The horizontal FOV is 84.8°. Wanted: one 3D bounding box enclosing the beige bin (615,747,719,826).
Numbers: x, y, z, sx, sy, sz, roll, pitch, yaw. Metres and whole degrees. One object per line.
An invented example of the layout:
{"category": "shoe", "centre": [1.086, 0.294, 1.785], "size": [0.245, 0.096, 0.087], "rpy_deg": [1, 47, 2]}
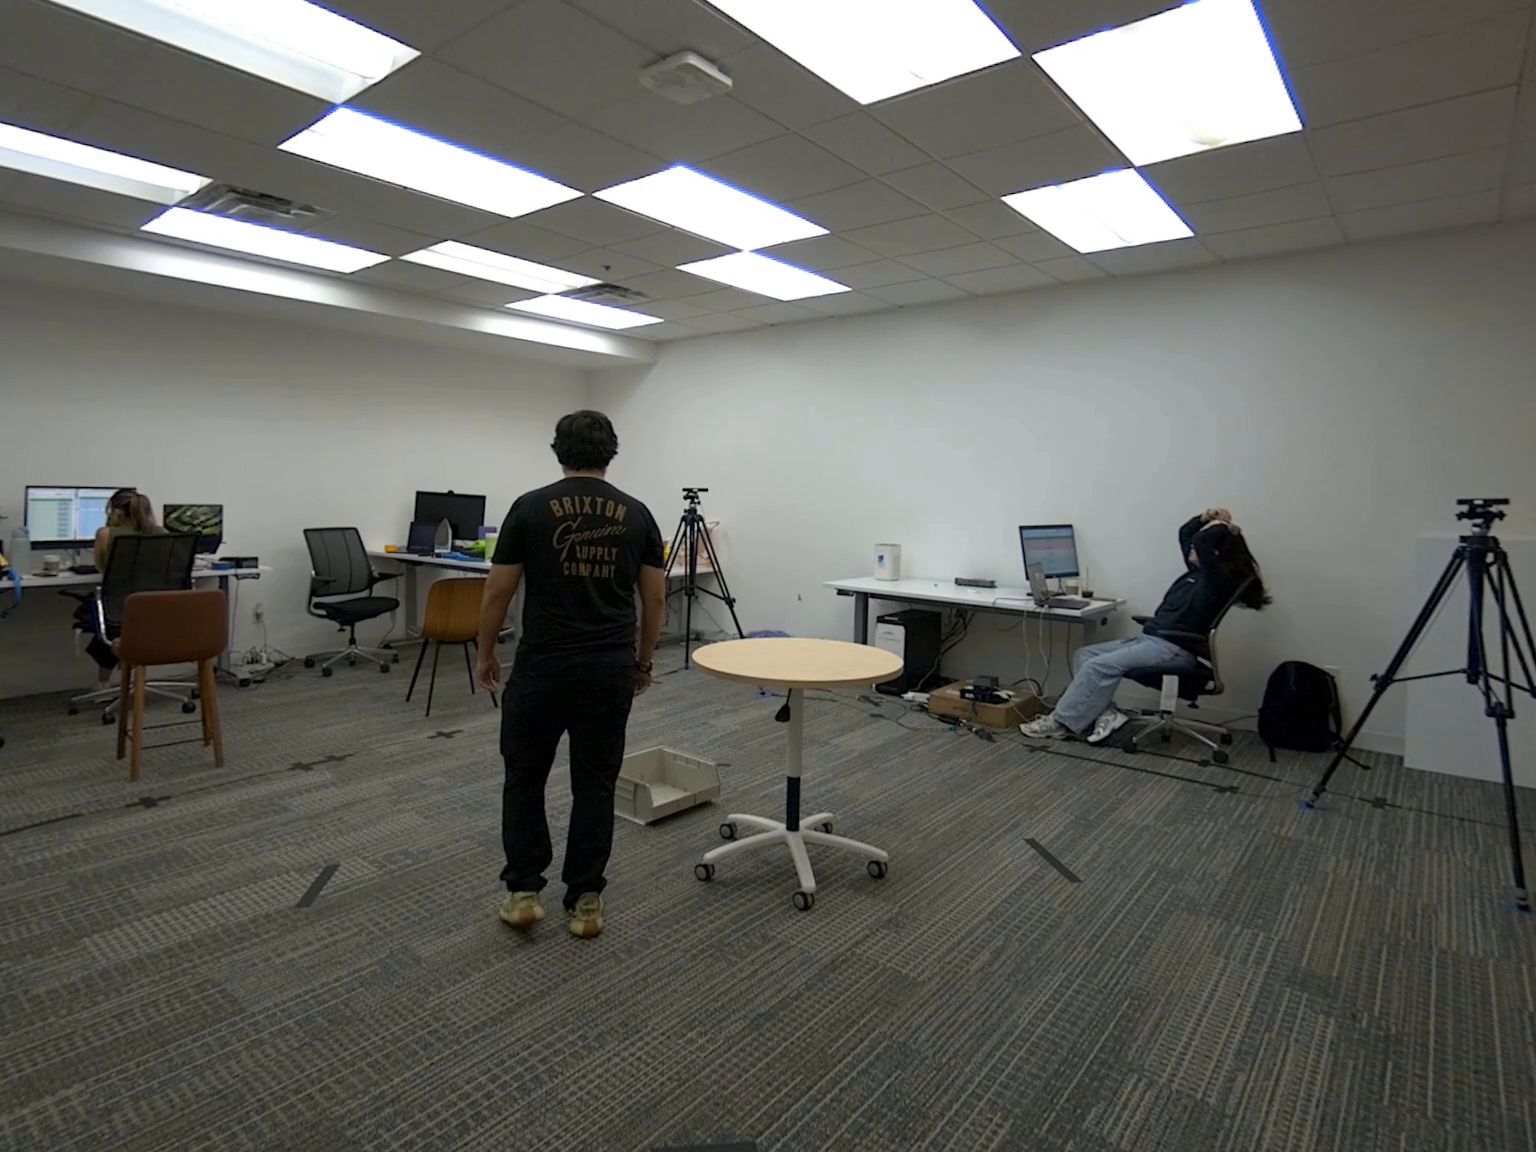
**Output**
{"category": "beige bin", "centre": [-0.495, 0.916, 3.739], "size": [0.390, 0.188, 0.410], "rpy_deg": [4, 6, 41]}
